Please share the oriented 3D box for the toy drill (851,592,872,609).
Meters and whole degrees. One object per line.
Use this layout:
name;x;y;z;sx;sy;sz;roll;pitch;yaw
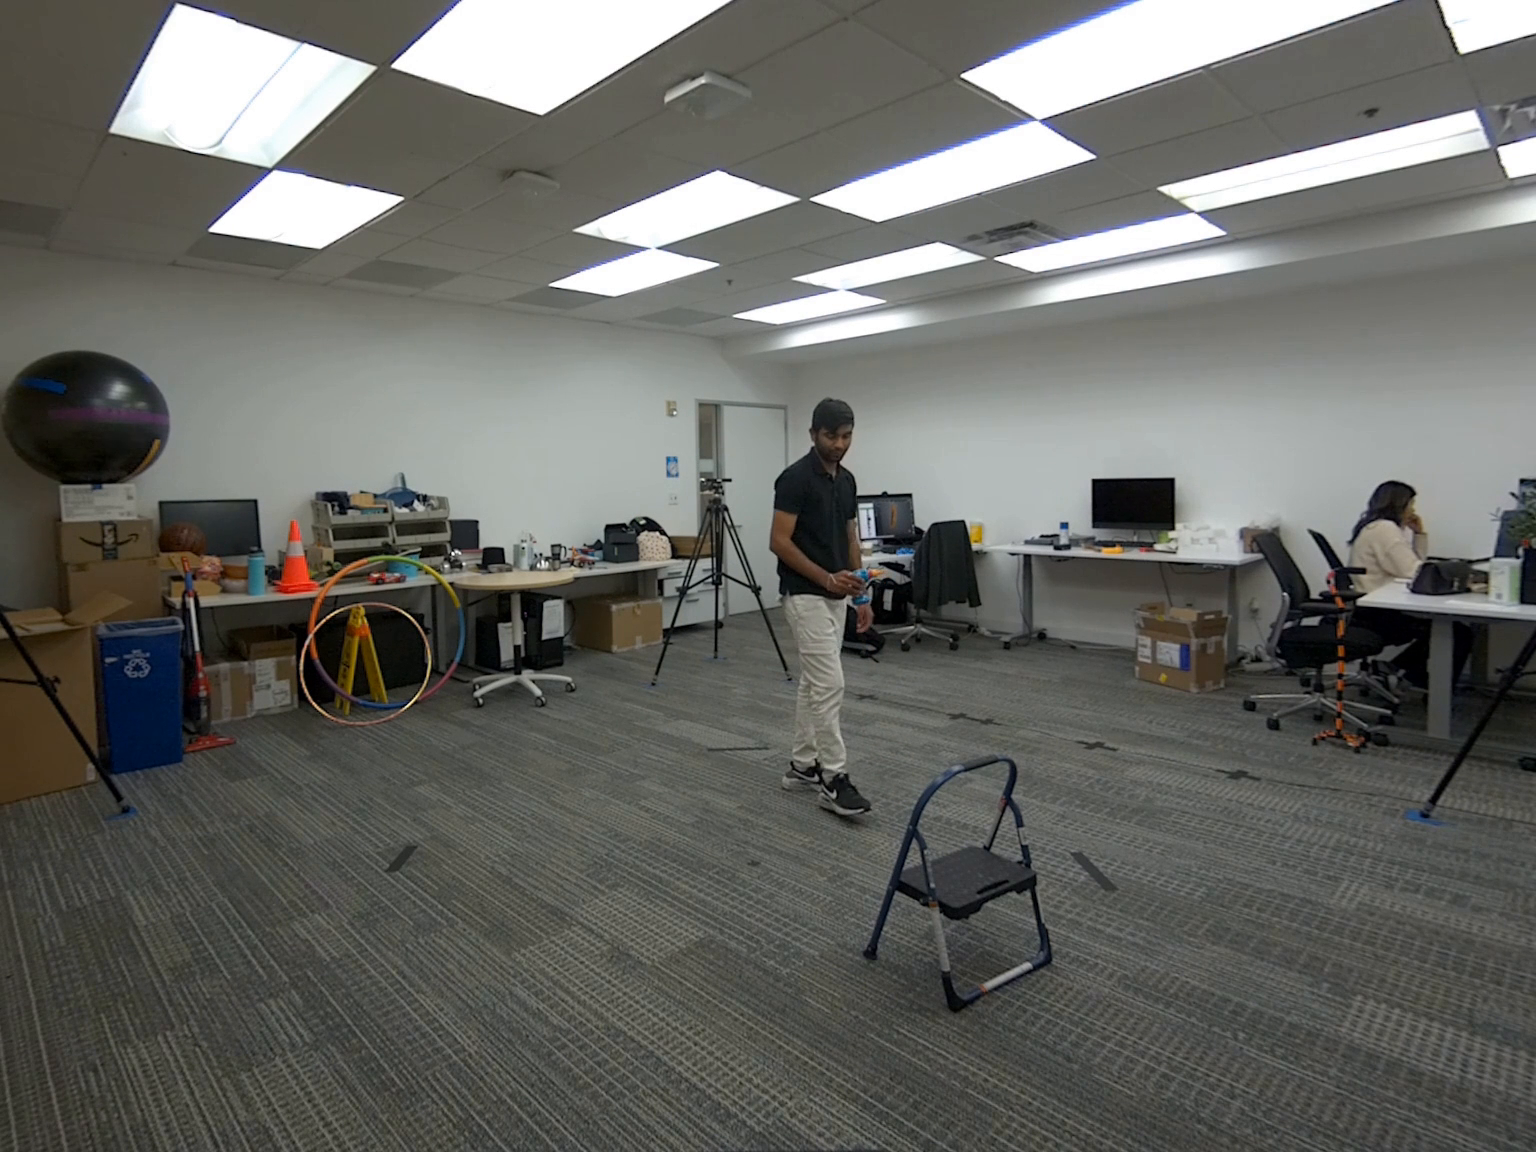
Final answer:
toy drill;0.387;0.042;3.508;0.170;0.143;0.062;-15;22;-1
